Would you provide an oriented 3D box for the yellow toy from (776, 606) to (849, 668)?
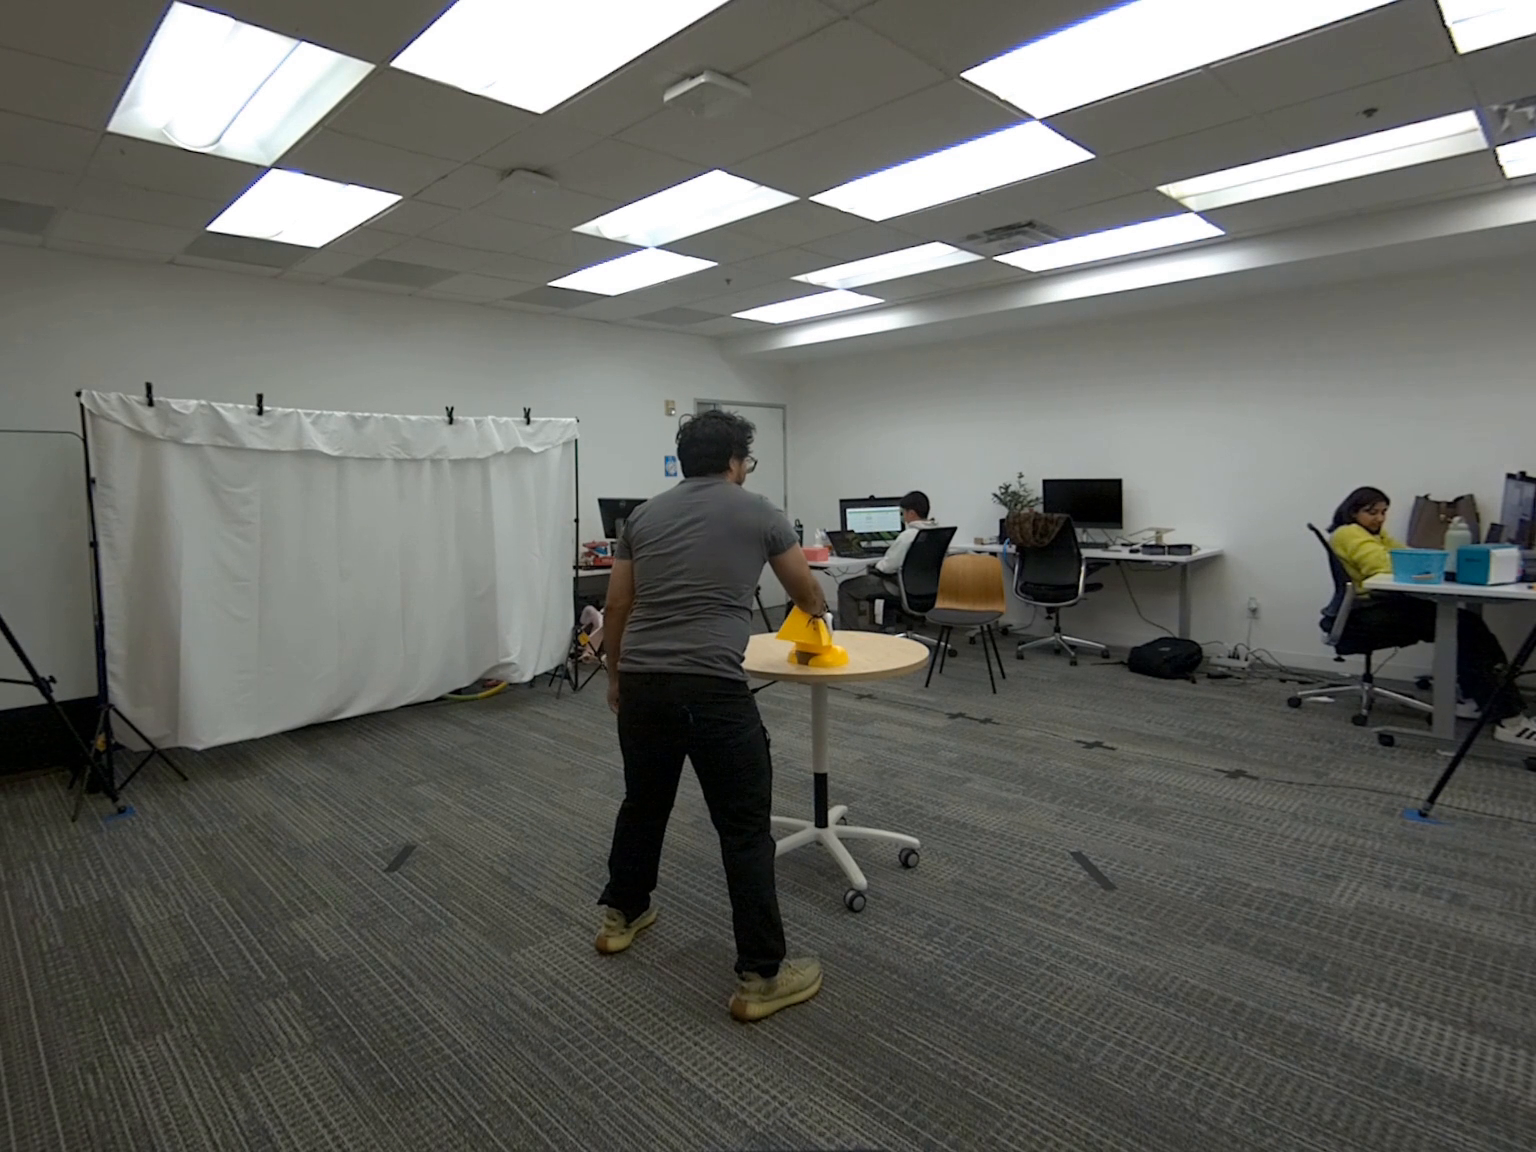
[{"bbox_3d":[0.158,0.171,2.850,0.211,0.230,0.188,3,6,44],"label":"yellow toy"}]
